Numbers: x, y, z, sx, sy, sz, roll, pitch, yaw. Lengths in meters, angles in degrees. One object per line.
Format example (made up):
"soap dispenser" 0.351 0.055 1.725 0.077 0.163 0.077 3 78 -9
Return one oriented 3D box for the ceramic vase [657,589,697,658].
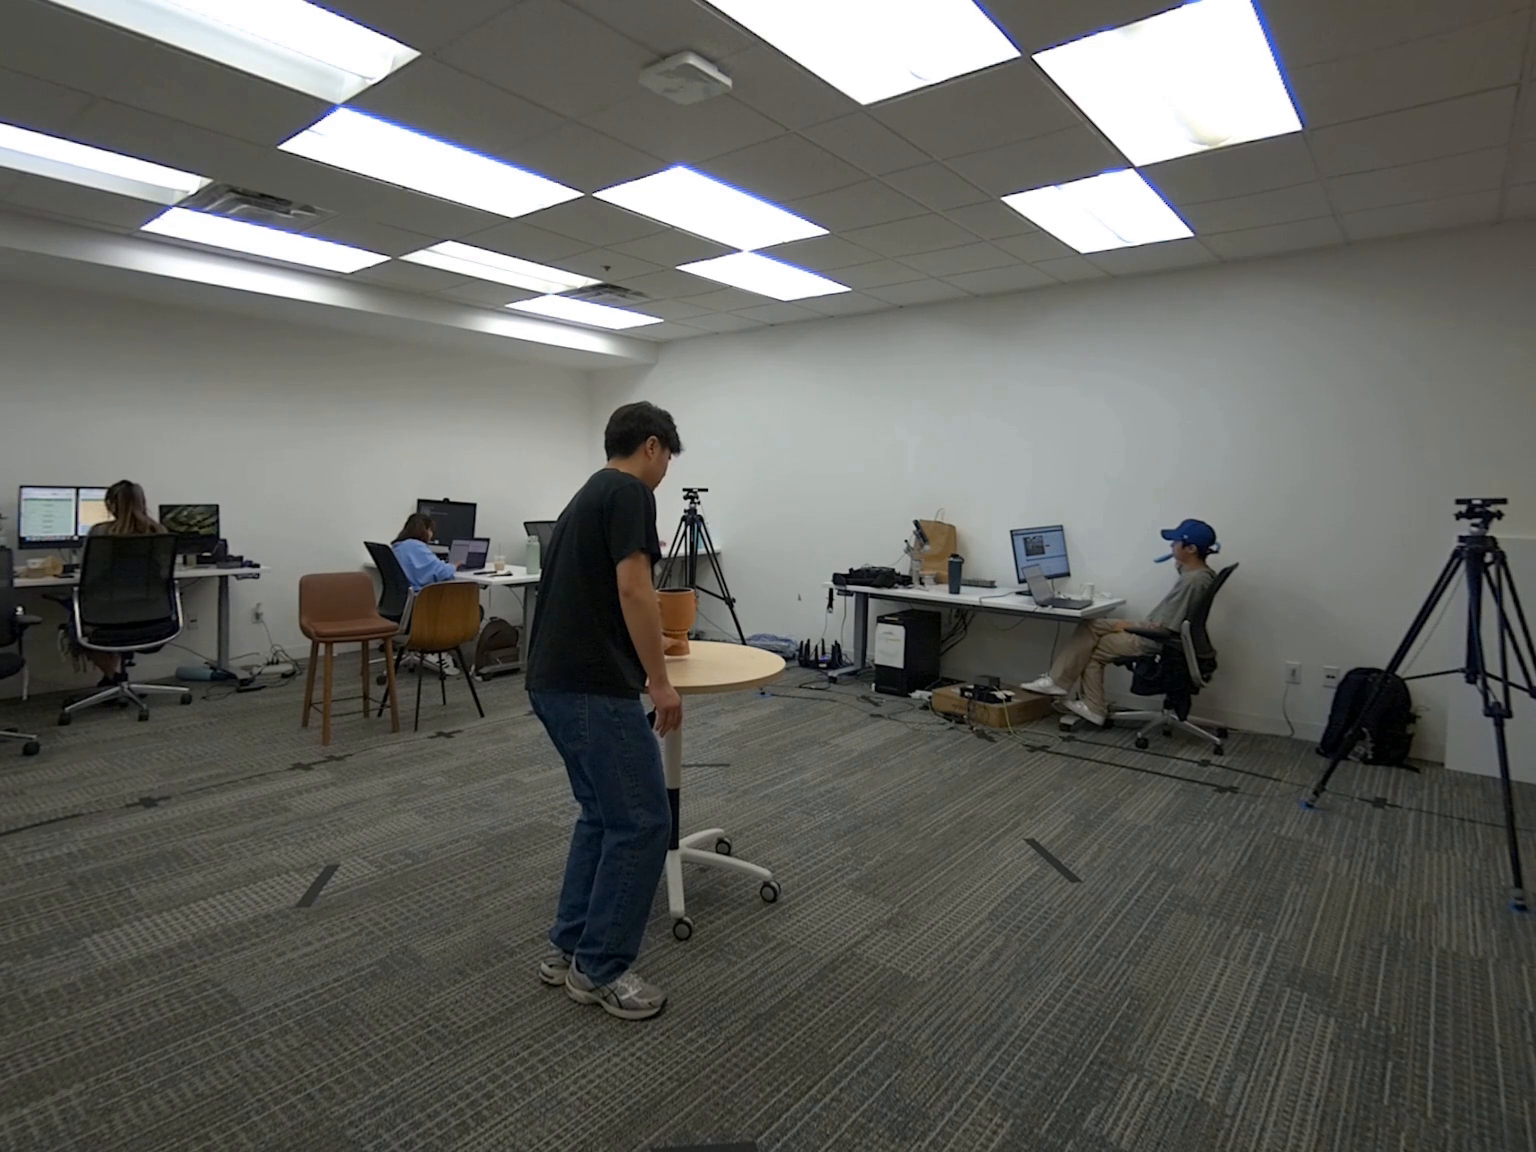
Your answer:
"ceramic vase" -0.331 0.155 2.930 0.158 0.219 0.136 -2 4 -6
